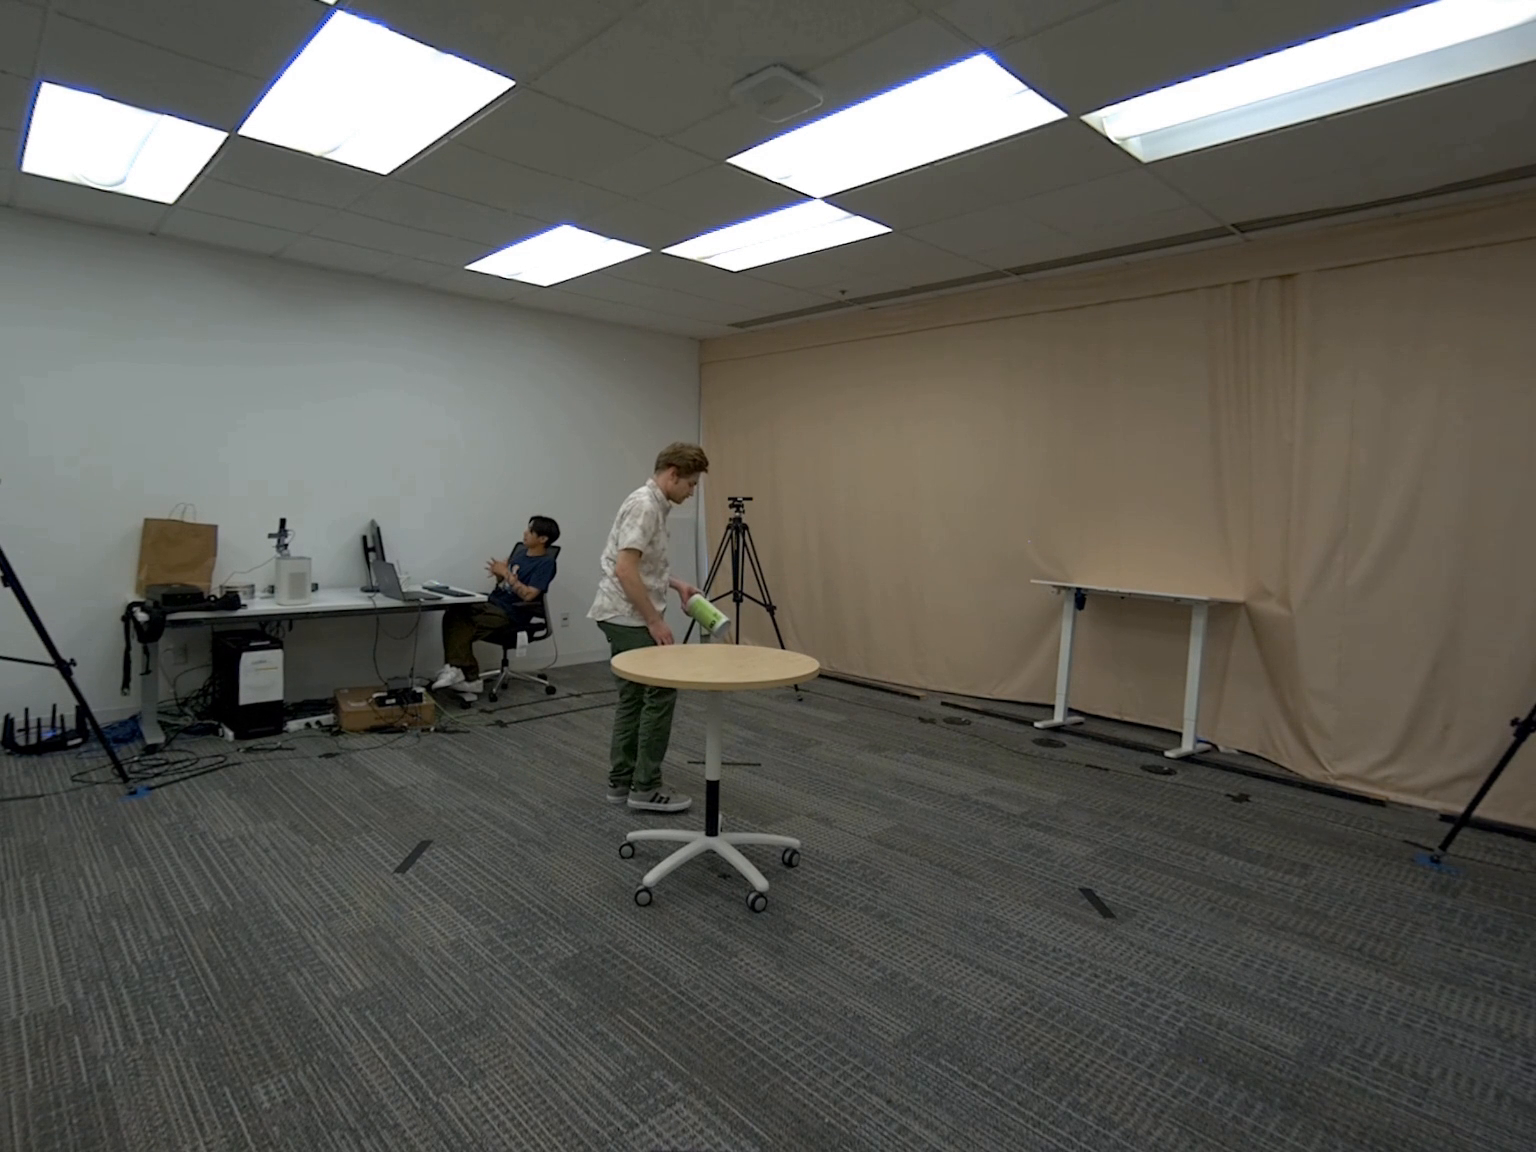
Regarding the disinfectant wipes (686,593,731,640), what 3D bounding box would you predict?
[{"bbox_3d":[-0.293,0.186,3.993,0.223,0.117,0.115,40,22,24],"label":"disinfectant wipes"}]
